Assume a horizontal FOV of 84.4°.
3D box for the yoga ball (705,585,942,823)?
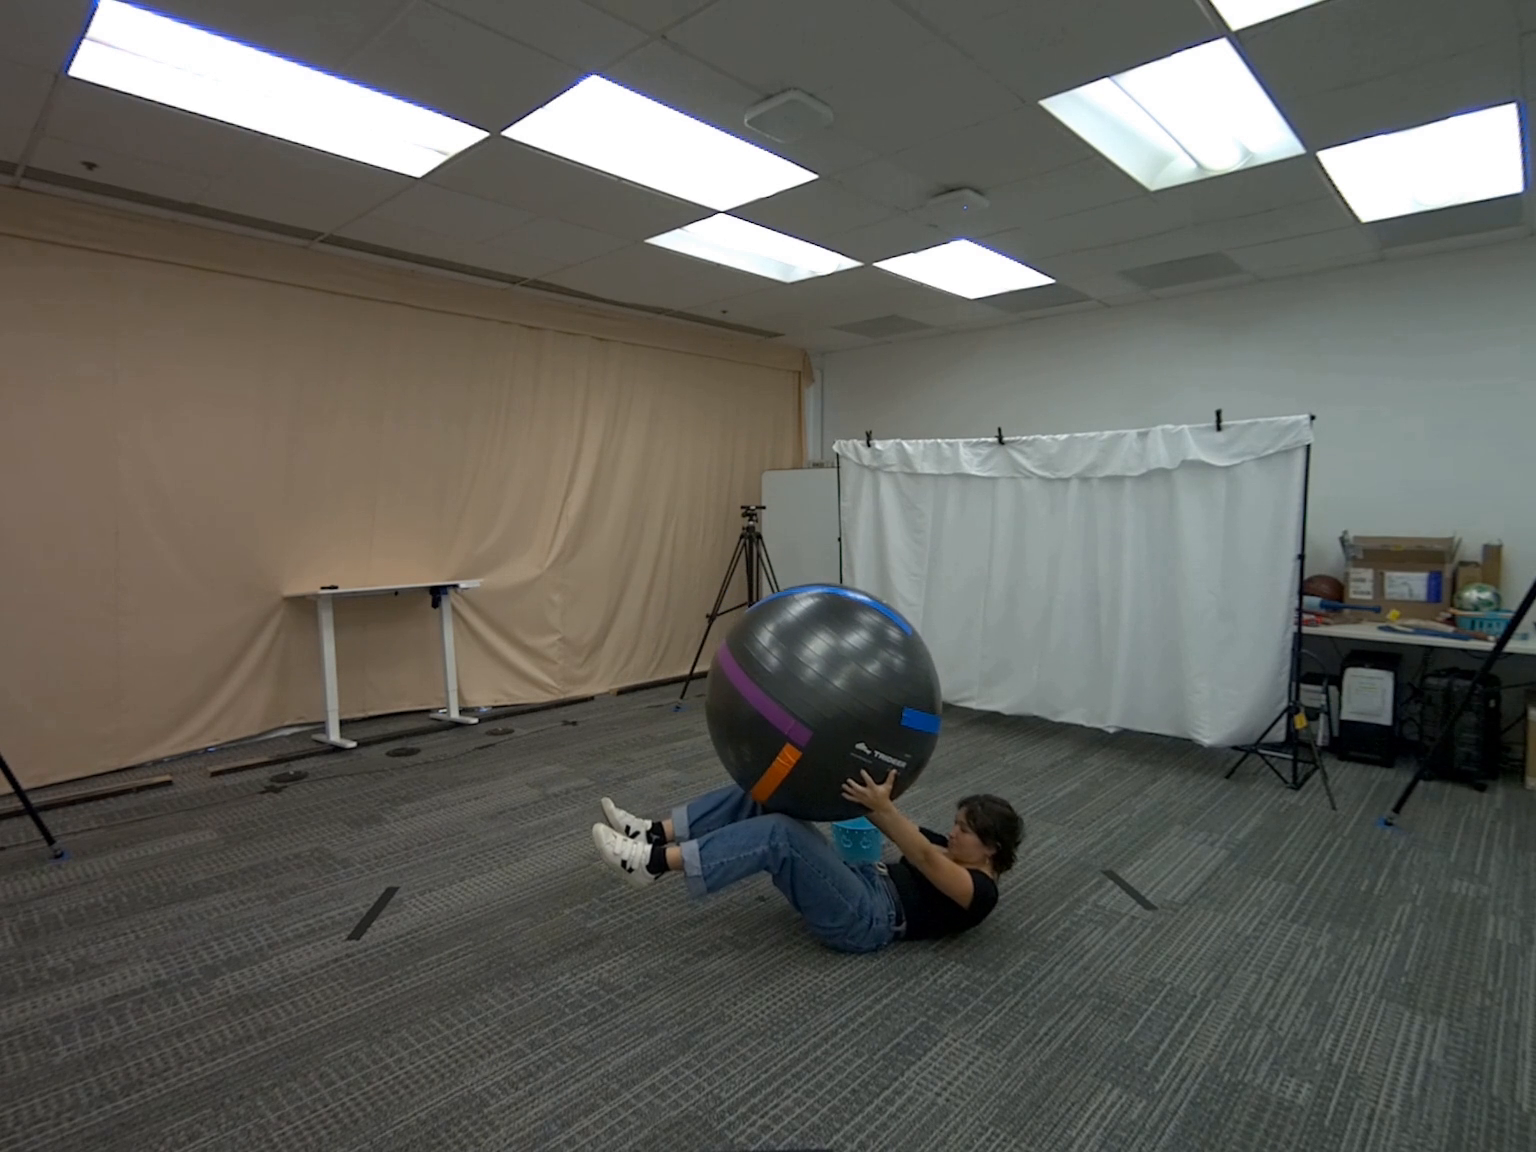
[{"bbox_3d":[0.180,0.404,2.718,0.757,0.756,0.761,0,4,-2],"label":"yoga ball"}]
